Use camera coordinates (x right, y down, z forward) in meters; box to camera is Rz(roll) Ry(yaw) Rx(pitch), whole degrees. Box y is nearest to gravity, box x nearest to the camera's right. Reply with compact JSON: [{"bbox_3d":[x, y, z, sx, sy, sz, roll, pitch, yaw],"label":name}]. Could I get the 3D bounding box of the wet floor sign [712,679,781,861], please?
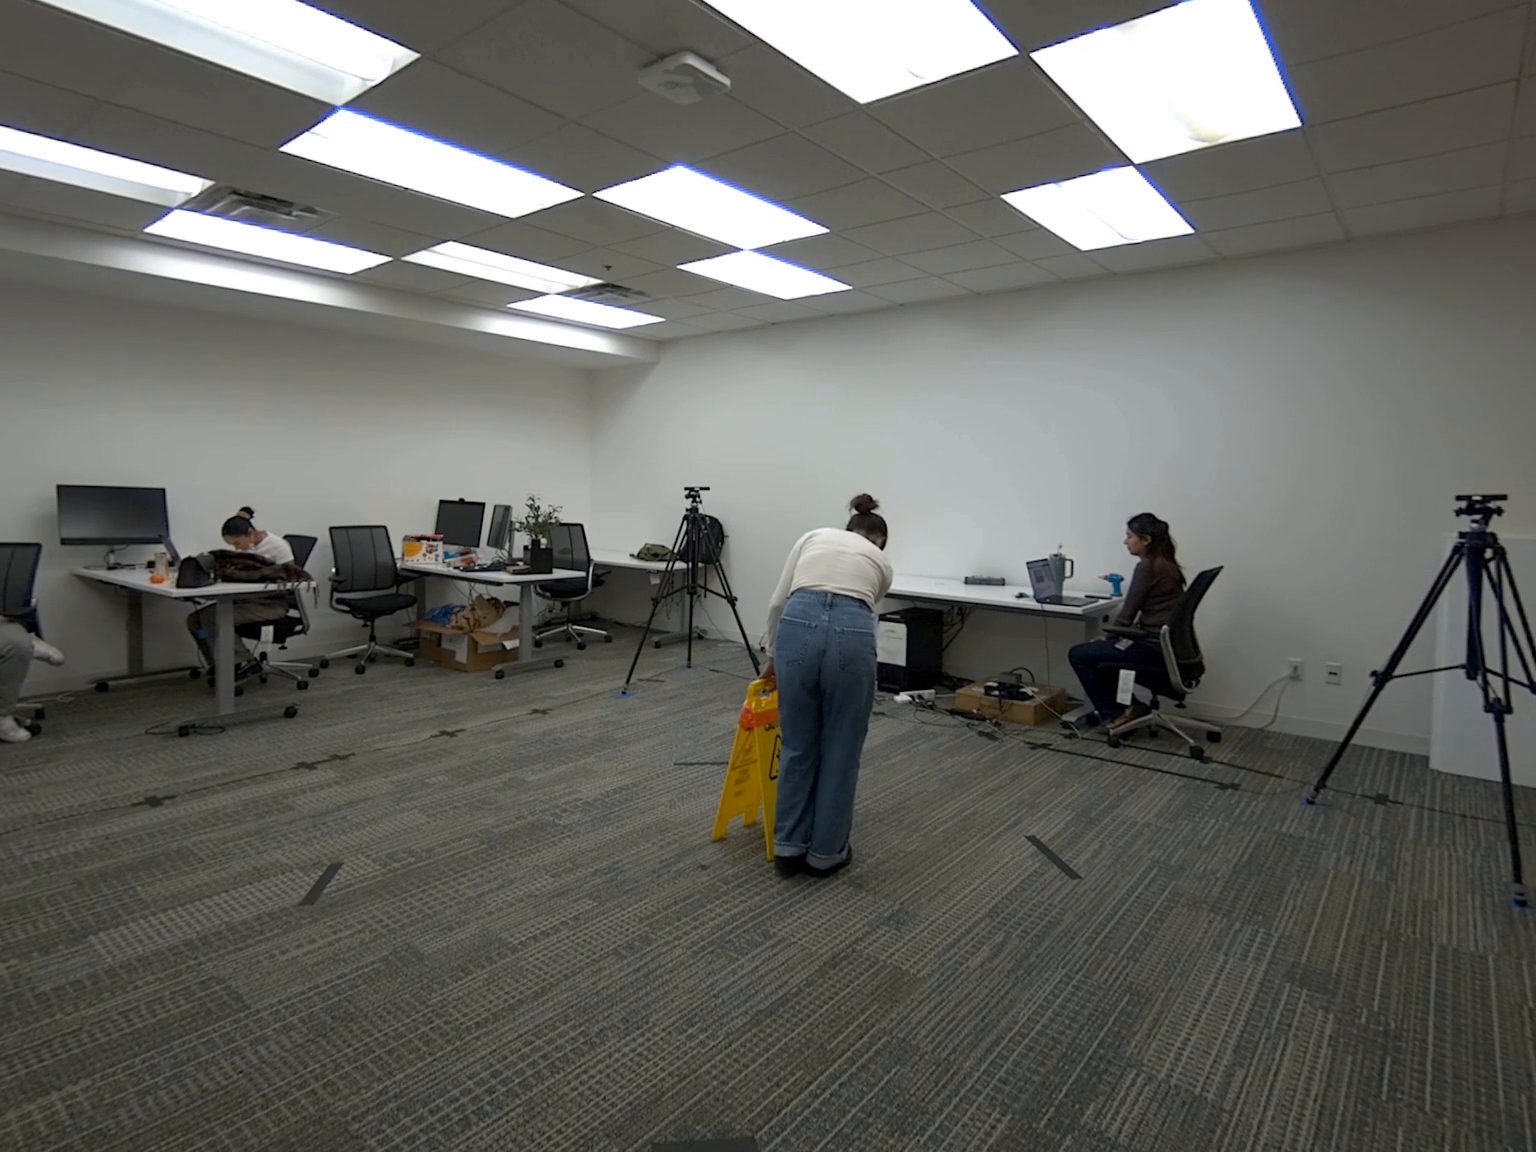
[{"bbox_3d":[-0.023,0.719,3.349,0.299,0.644,0.274,4,4,37],"label":"wet floor sign"}]
